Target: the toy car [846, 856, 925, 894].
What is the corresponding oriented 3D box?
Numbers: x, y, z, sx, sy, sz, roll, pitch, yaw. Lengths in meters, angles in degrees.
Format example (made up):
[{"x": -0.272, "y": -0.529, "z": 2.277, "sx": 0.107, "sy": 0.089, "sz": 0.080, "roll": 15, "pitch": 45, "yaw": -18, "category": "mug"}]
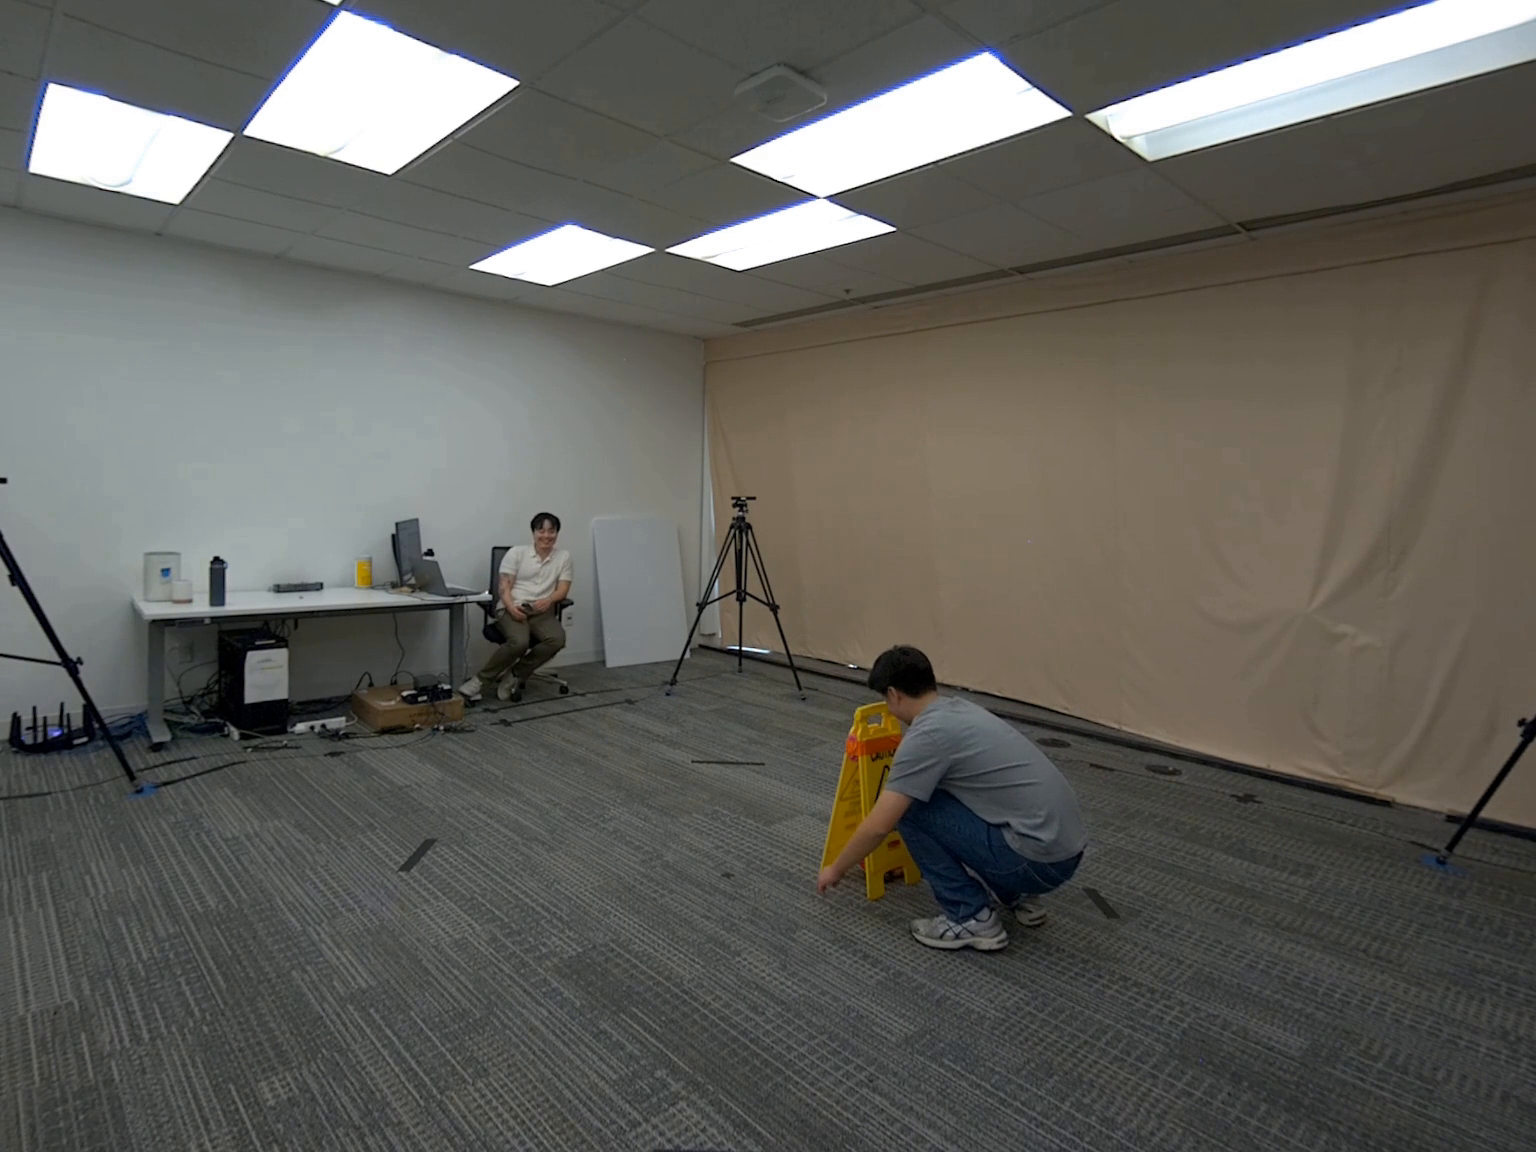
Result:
[{"x": 0.437, "y": 1.109, "z": 3.149, "sx": 0.250, "sy": 0.083, "sz": 0.132, "roll": 6, "pitch": 0, "yaw": -22, "category": "toy car"}]
